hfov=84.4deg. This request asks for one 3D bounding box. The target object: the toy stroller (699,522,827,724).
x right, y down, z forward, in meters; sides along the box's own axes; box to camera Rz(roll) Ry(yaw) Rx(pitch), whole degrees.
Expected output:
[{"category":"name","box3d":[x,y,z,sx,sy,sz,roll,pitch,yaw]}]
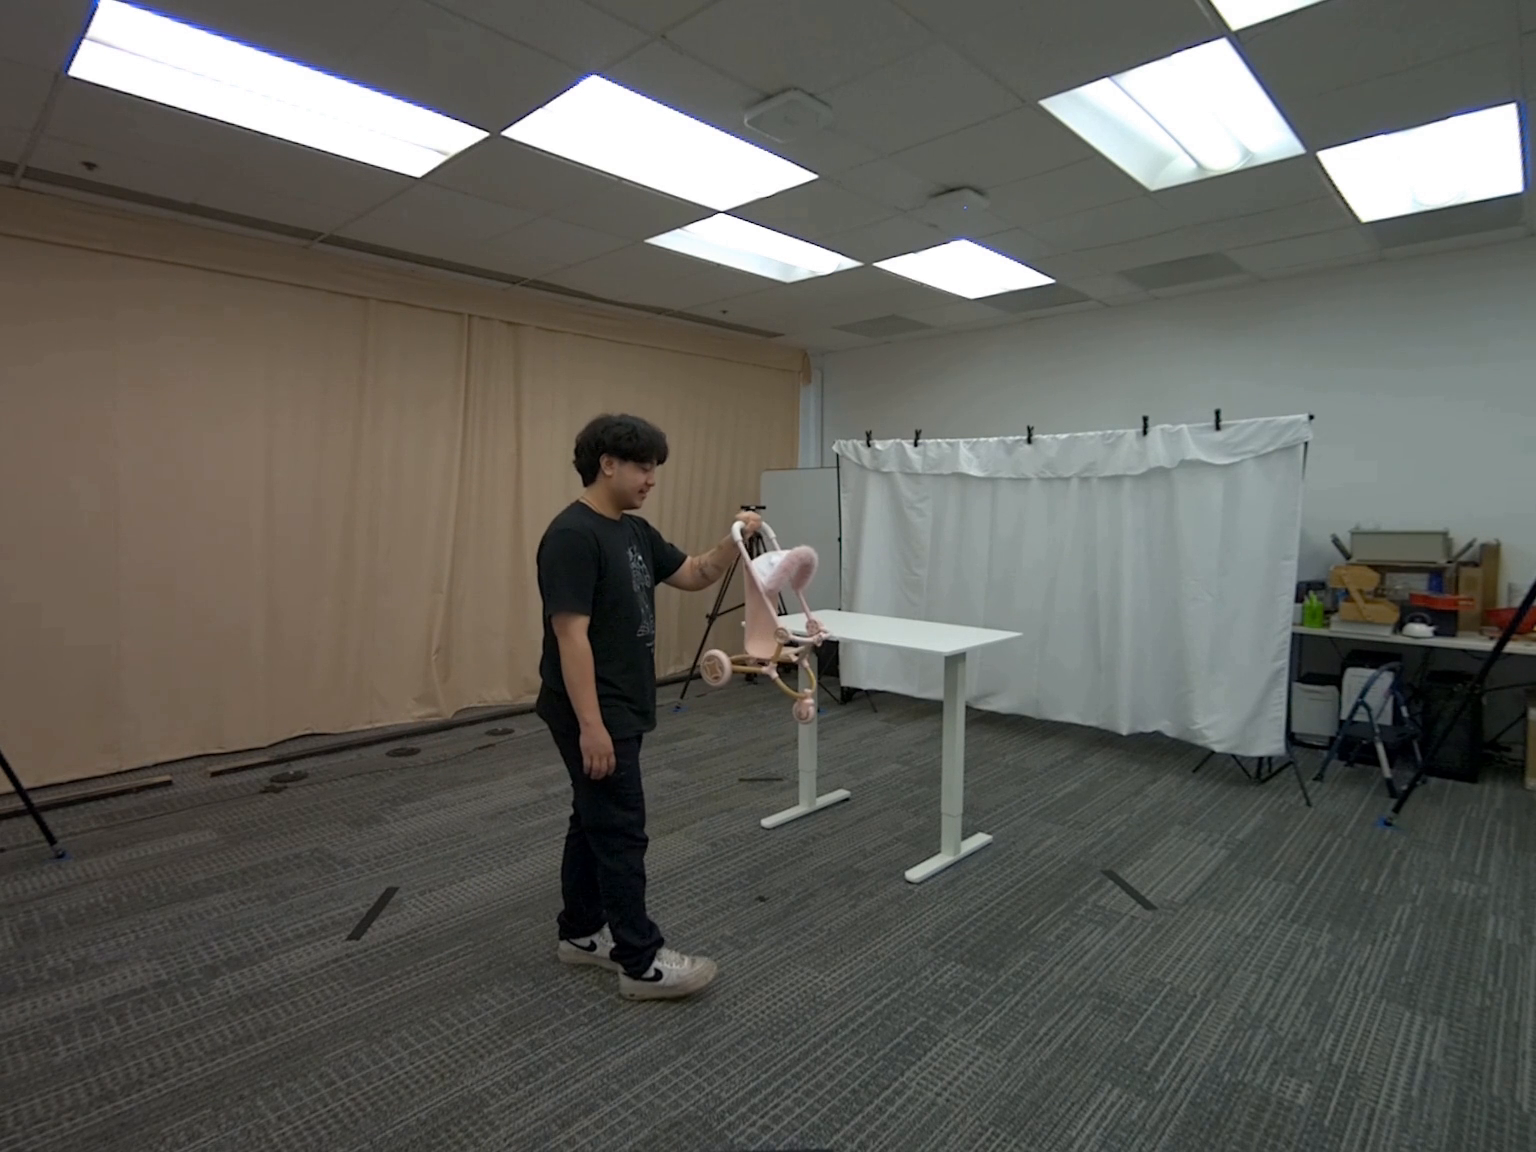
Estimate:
[{"category":"toy stroller","box3d":[0.030,0.137,2.454,0.353,0.533,0.273,16,11,35]}]
